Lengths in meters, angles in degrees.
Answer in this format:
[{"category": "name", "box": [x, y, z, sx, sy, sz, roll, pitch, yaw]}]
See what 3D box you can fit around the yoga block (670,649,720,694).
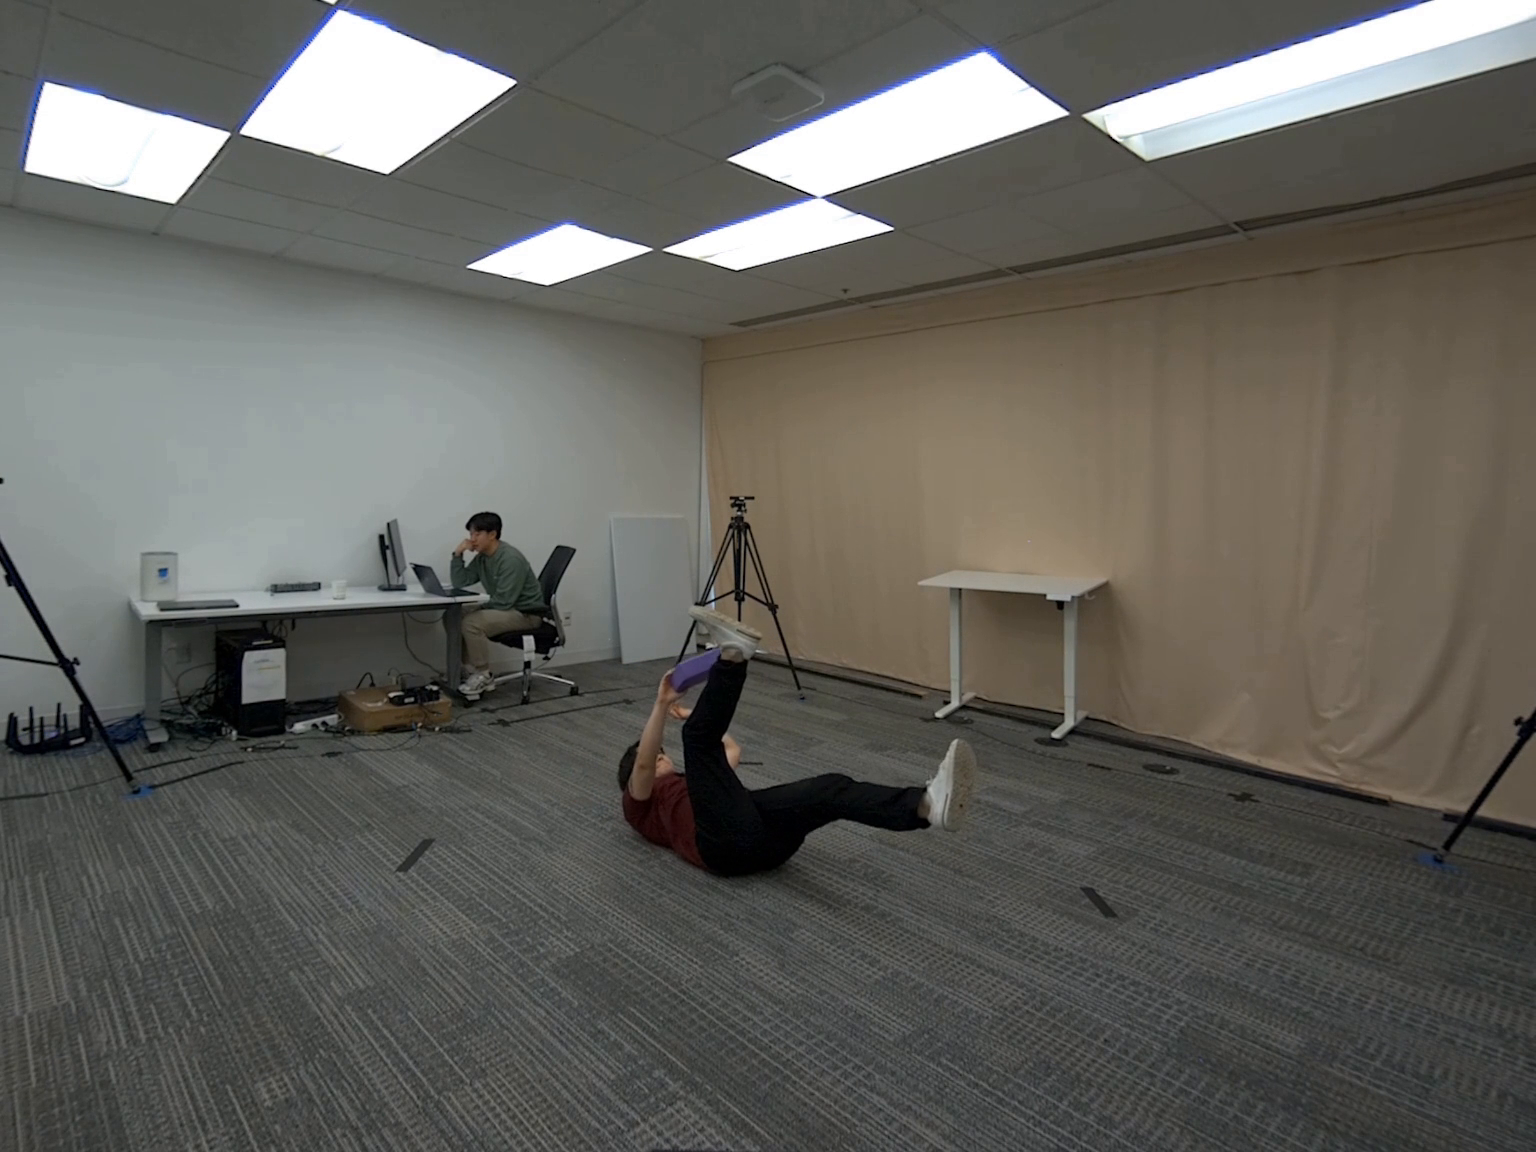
[{"category": "yoga block", "box": [-0.261, 0.357, 3.246, 0.226, 0.078, 0.148, -19, -18, -31]}]
